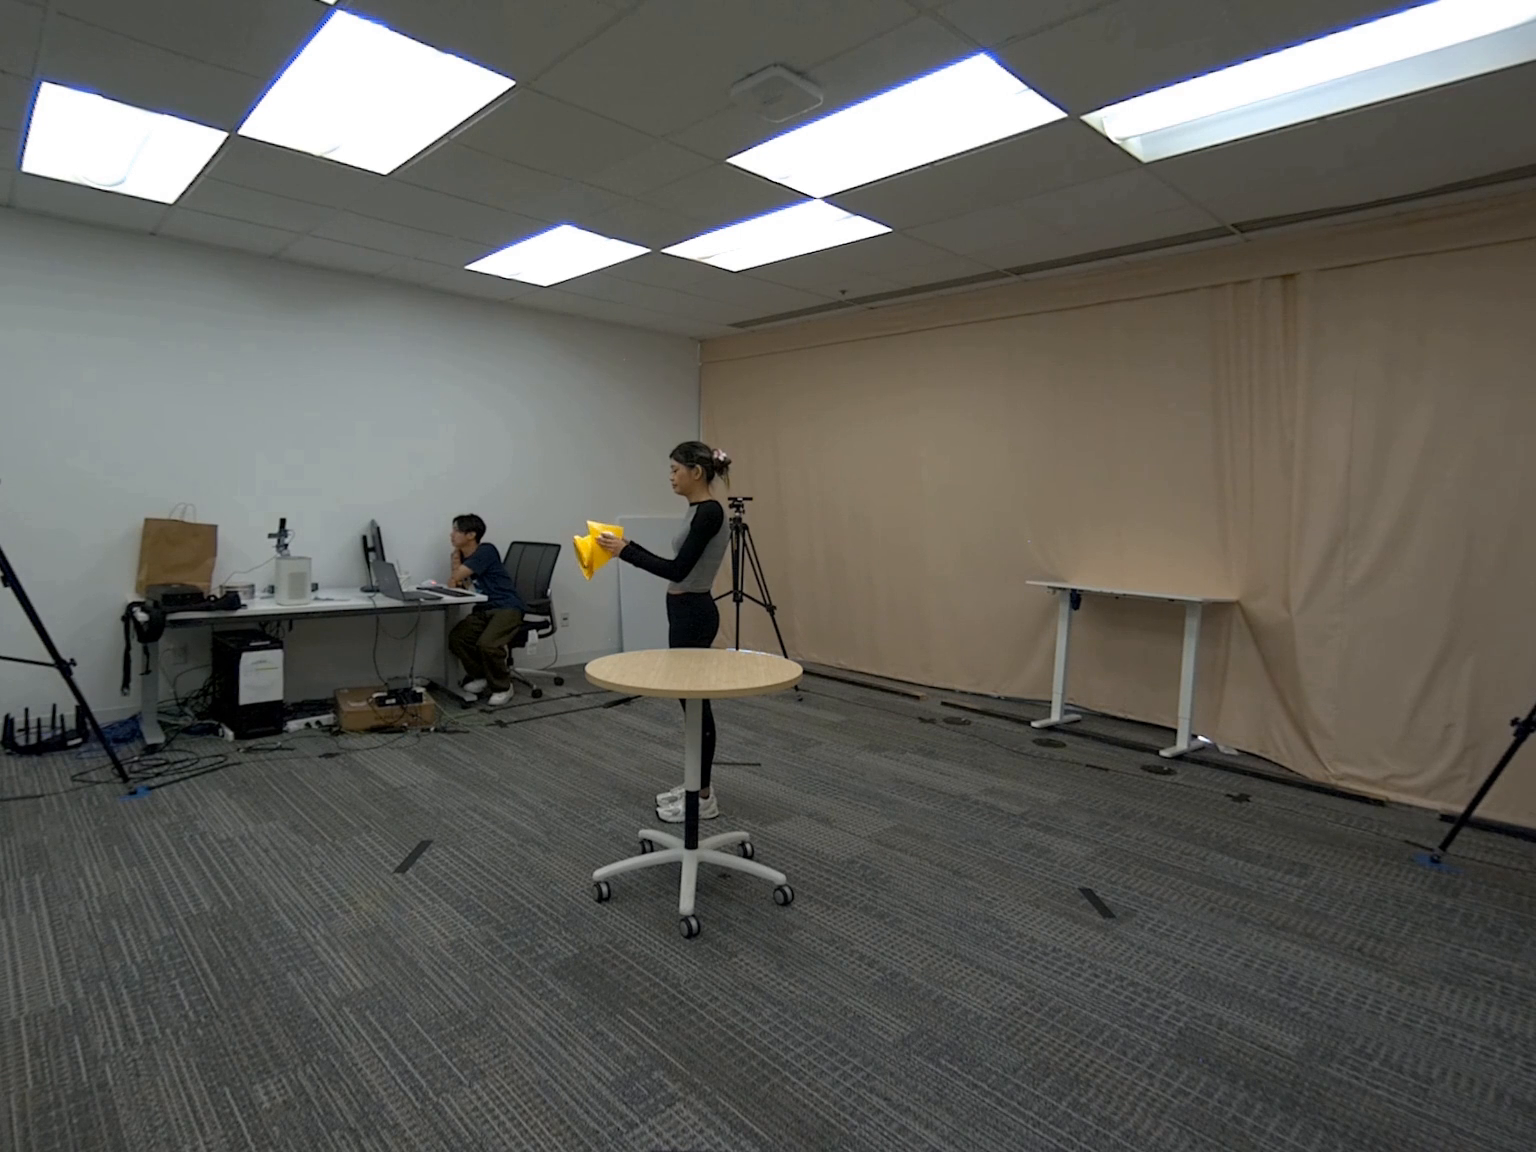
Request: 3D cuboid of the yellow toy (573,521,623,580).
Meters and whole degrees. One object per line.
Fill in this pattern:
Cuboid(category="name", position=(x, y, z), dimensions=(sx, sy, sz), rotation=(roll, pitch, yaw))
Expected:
Cuboid(category="yellow toy", position=(-0.715, -0.126, 3.662), dimensions=(0.229, 0.198, 0.201), rotation=(-22, -29, -18))
